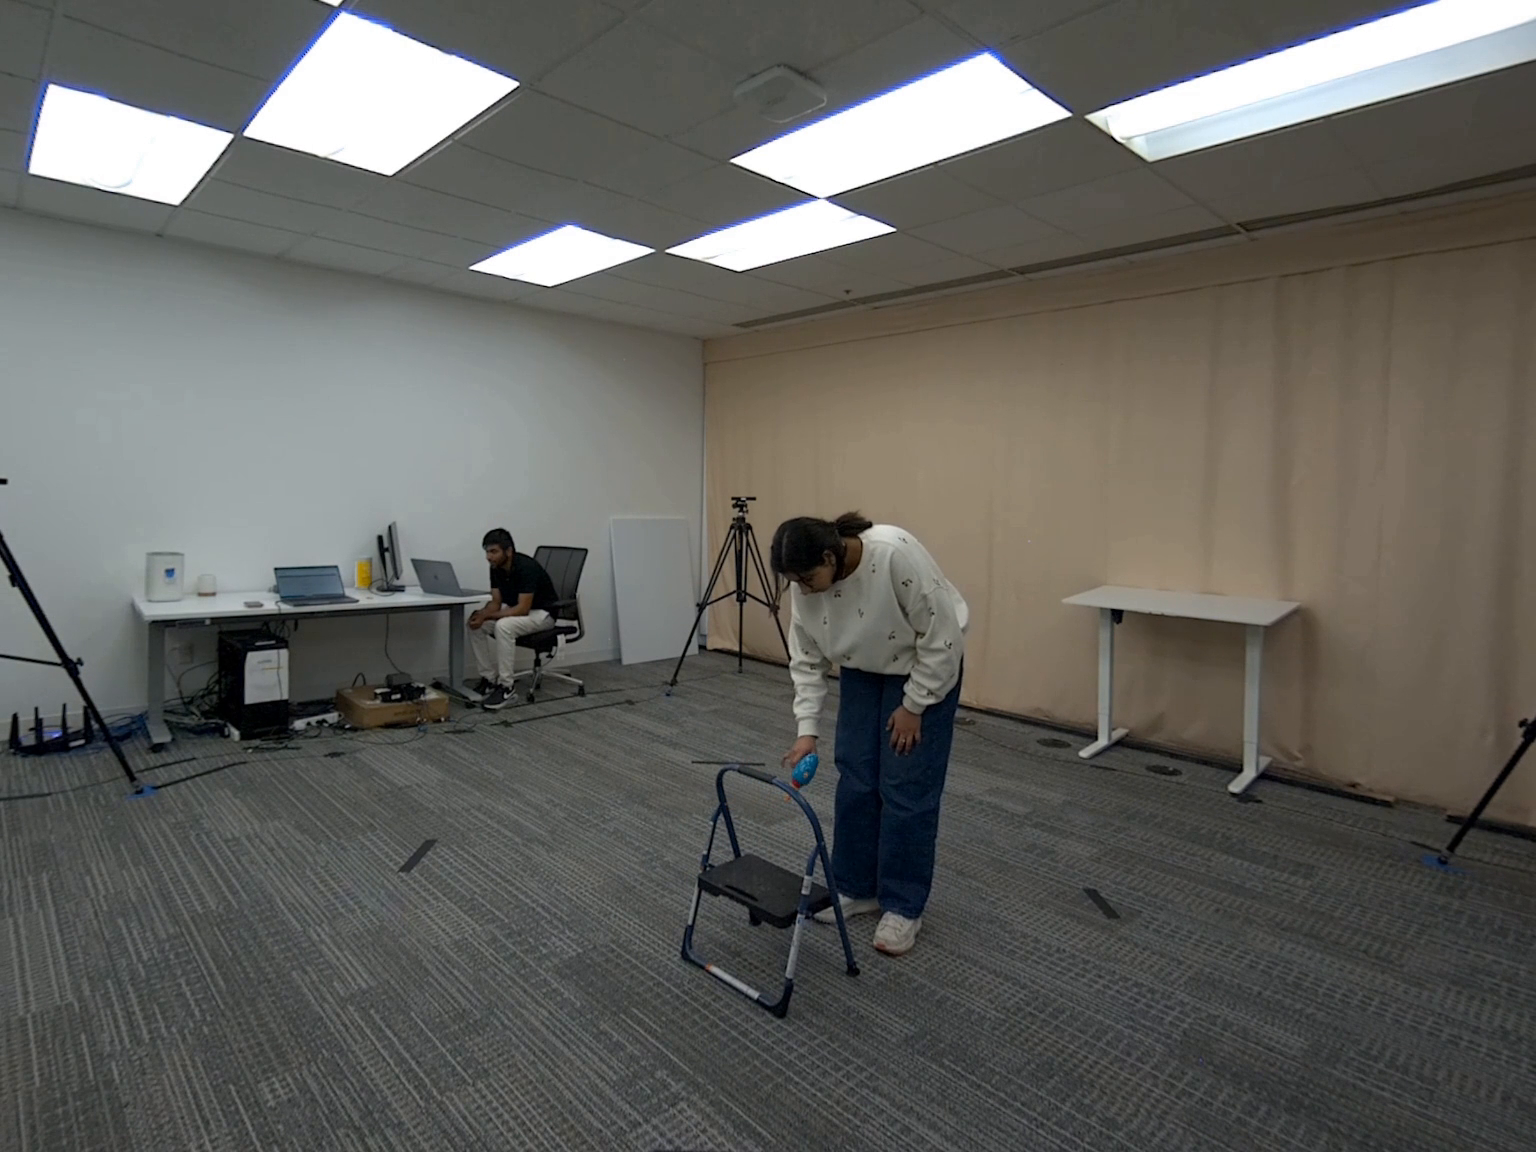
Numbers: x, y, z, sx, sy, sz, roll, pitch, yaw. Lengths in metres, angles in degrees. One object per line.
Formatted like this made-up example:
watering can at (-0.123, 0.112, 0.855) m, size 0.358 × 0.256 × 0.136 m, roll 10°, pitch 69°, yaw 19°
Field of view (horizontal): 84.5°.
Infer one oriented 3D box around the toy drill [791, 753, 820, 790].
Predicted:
toy drill at (0.086, 0.627, 2.617) m, size 0.061 × 0.170 × 0.145 m, roll 26°, pitch -5°, yaw 0°
